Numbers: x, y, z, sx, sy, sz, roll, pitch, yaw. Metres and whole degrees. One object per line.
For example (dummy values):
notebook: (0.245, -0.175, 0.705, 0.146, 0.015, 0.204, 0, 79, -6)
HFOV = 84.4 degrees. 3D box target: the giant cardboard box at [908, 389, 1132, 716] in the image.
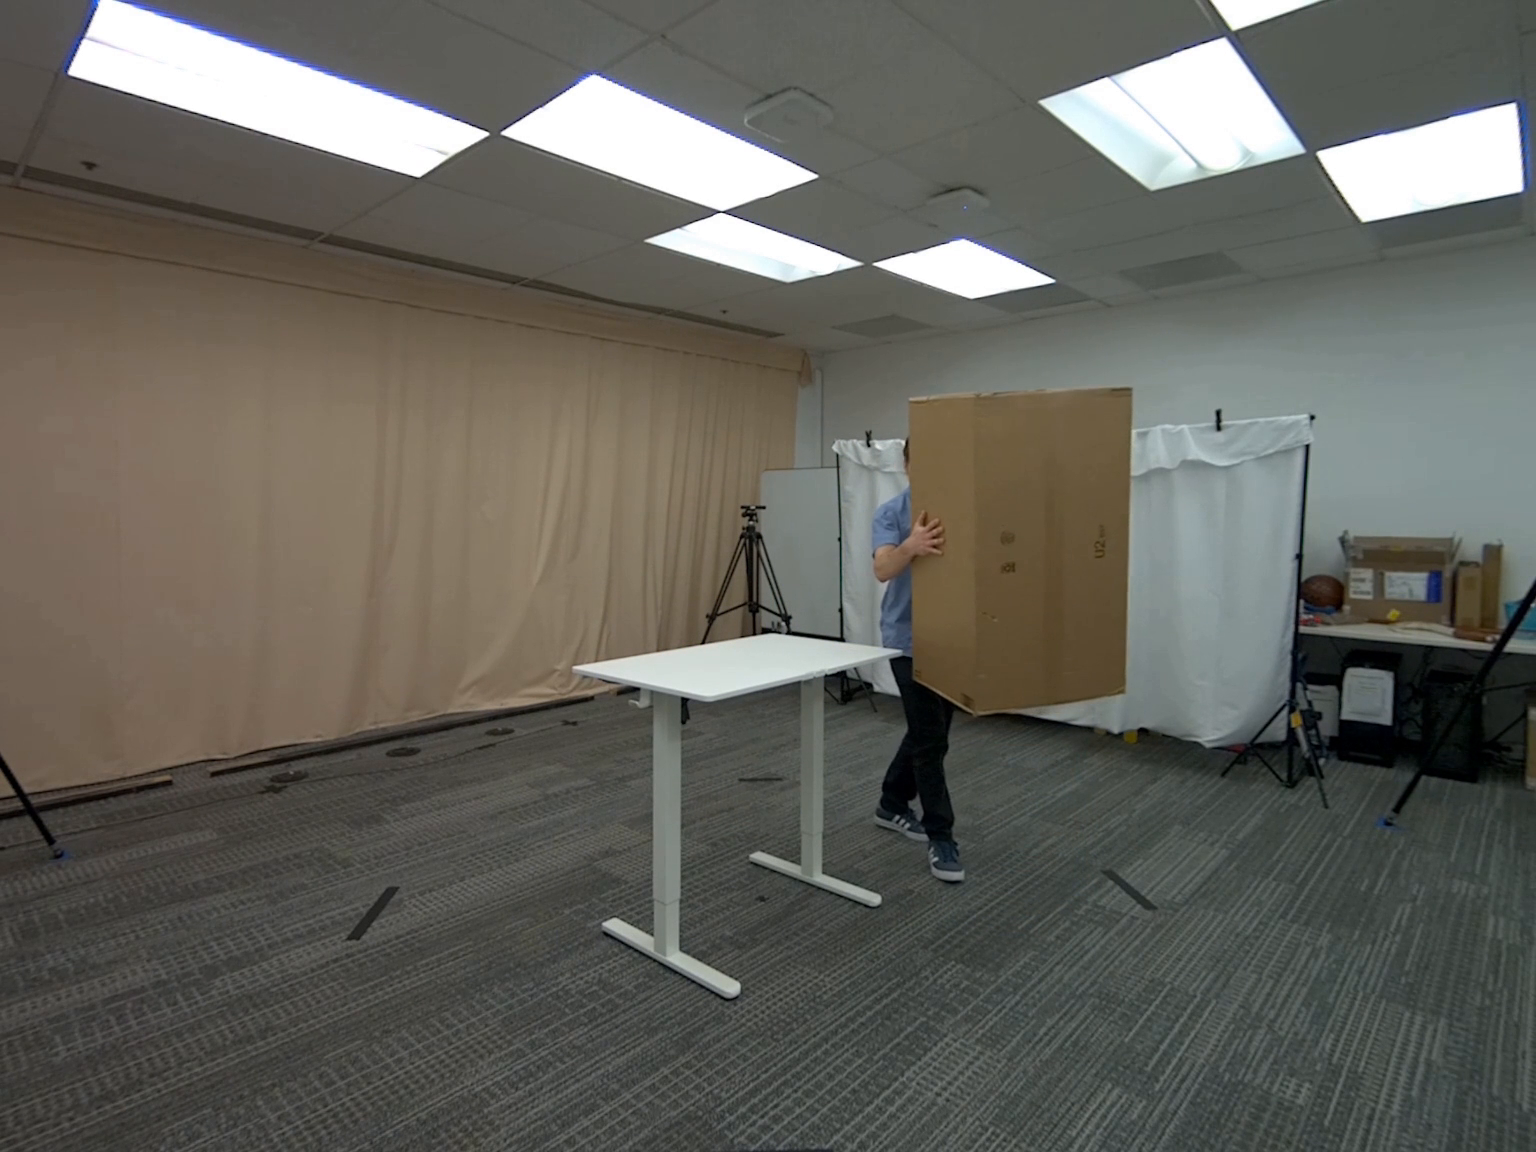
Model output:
giant cardboard box: (0.850, -0.111, 2.883, 0.569, 1.020, 0.435, -5, 9, -15)
